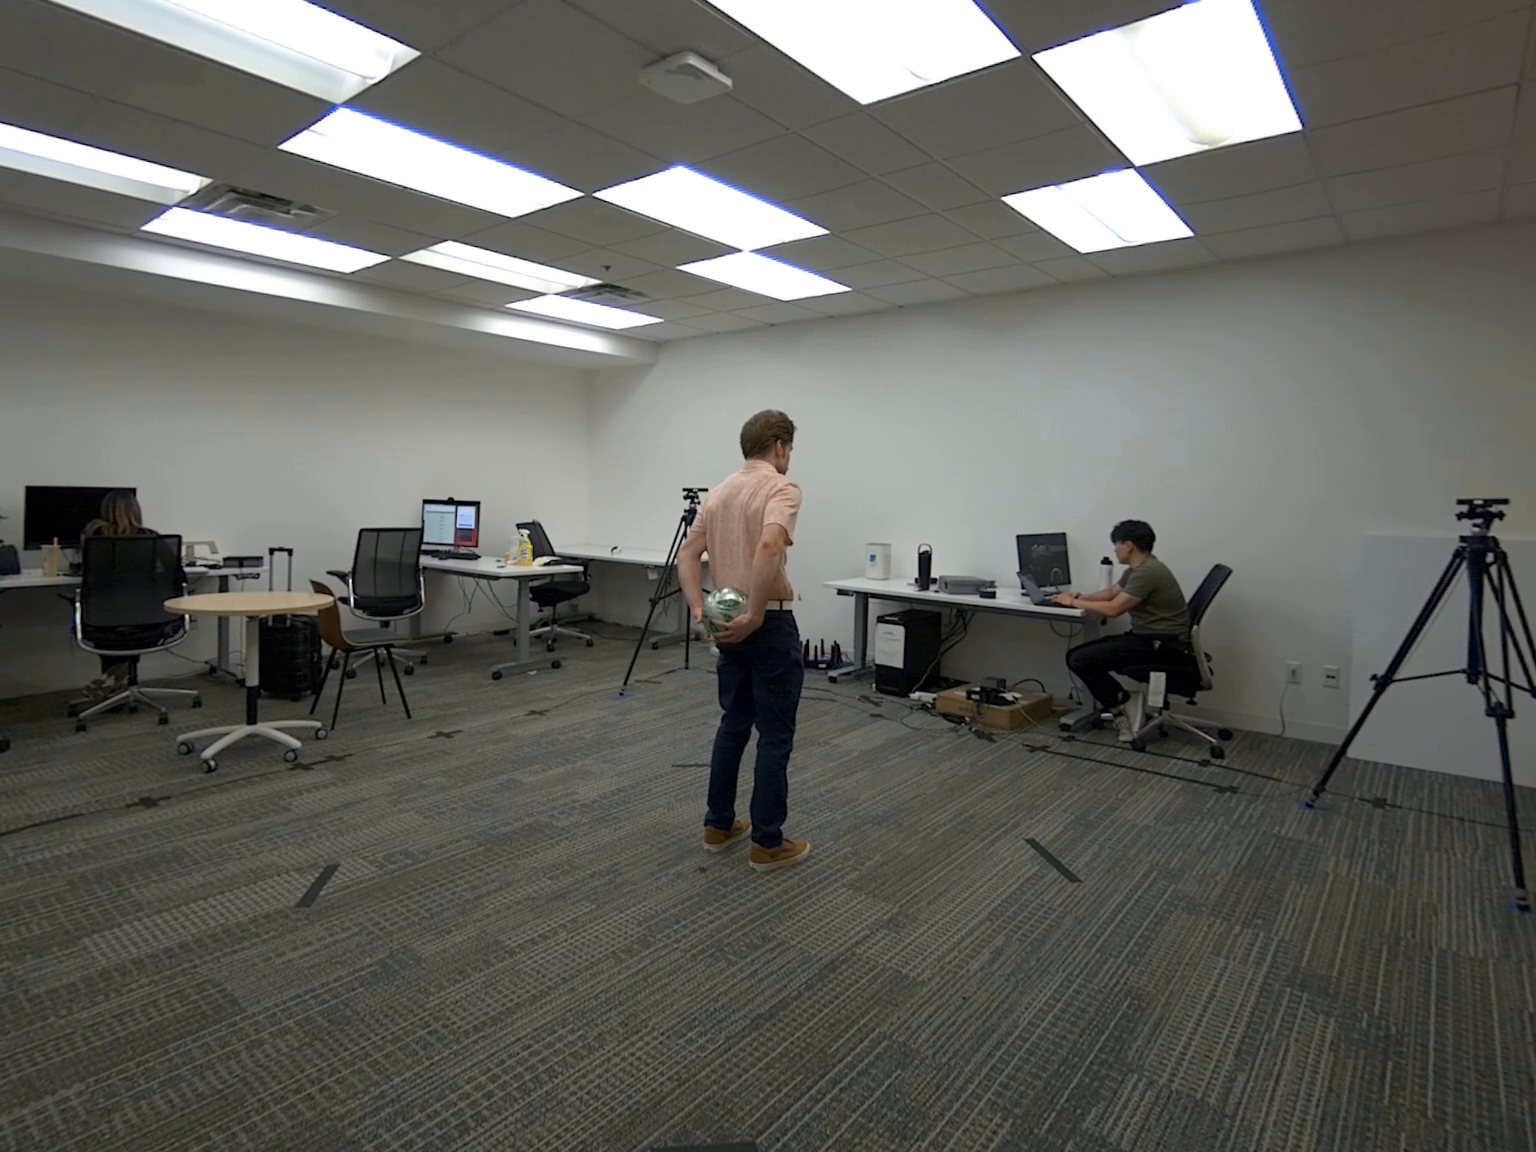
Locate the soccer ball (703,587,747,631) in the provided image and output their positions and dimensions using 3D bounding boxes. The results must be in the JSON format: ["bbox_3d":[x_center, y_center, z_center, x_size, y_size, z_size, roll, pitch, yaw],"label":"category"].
[{"bbox_3d":[-0.147,0.135,3.025,0.187,0.187,0.188,1,4,-2],"label":"soccer ball"}]
